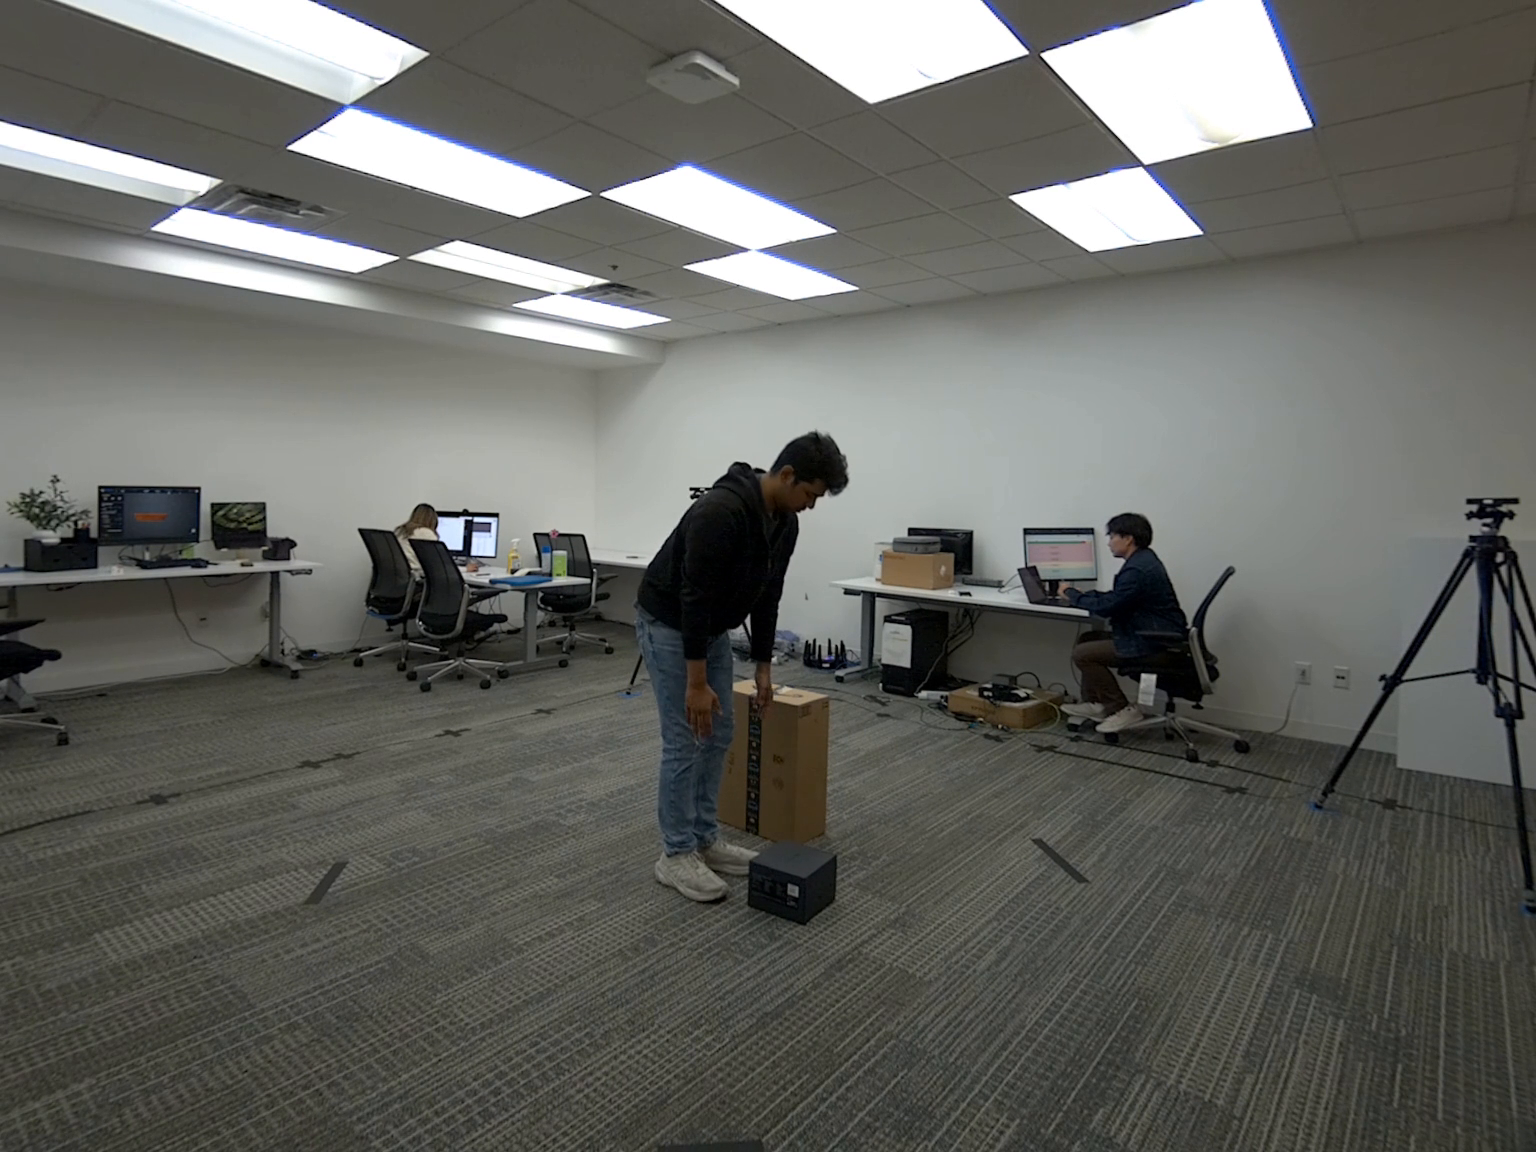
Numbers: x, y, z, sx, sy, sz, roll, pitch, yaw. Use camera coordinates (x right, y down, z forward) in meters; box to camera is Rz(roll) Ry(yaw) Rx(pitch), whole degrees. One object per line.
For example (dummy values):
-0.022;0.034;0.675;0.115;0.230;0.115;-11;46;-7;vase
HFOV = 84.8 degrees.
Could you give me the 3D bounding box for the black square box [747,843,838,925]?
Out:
0.079;1.016;2.854;0.224;0.155;0.221;4;5;33;black square box
